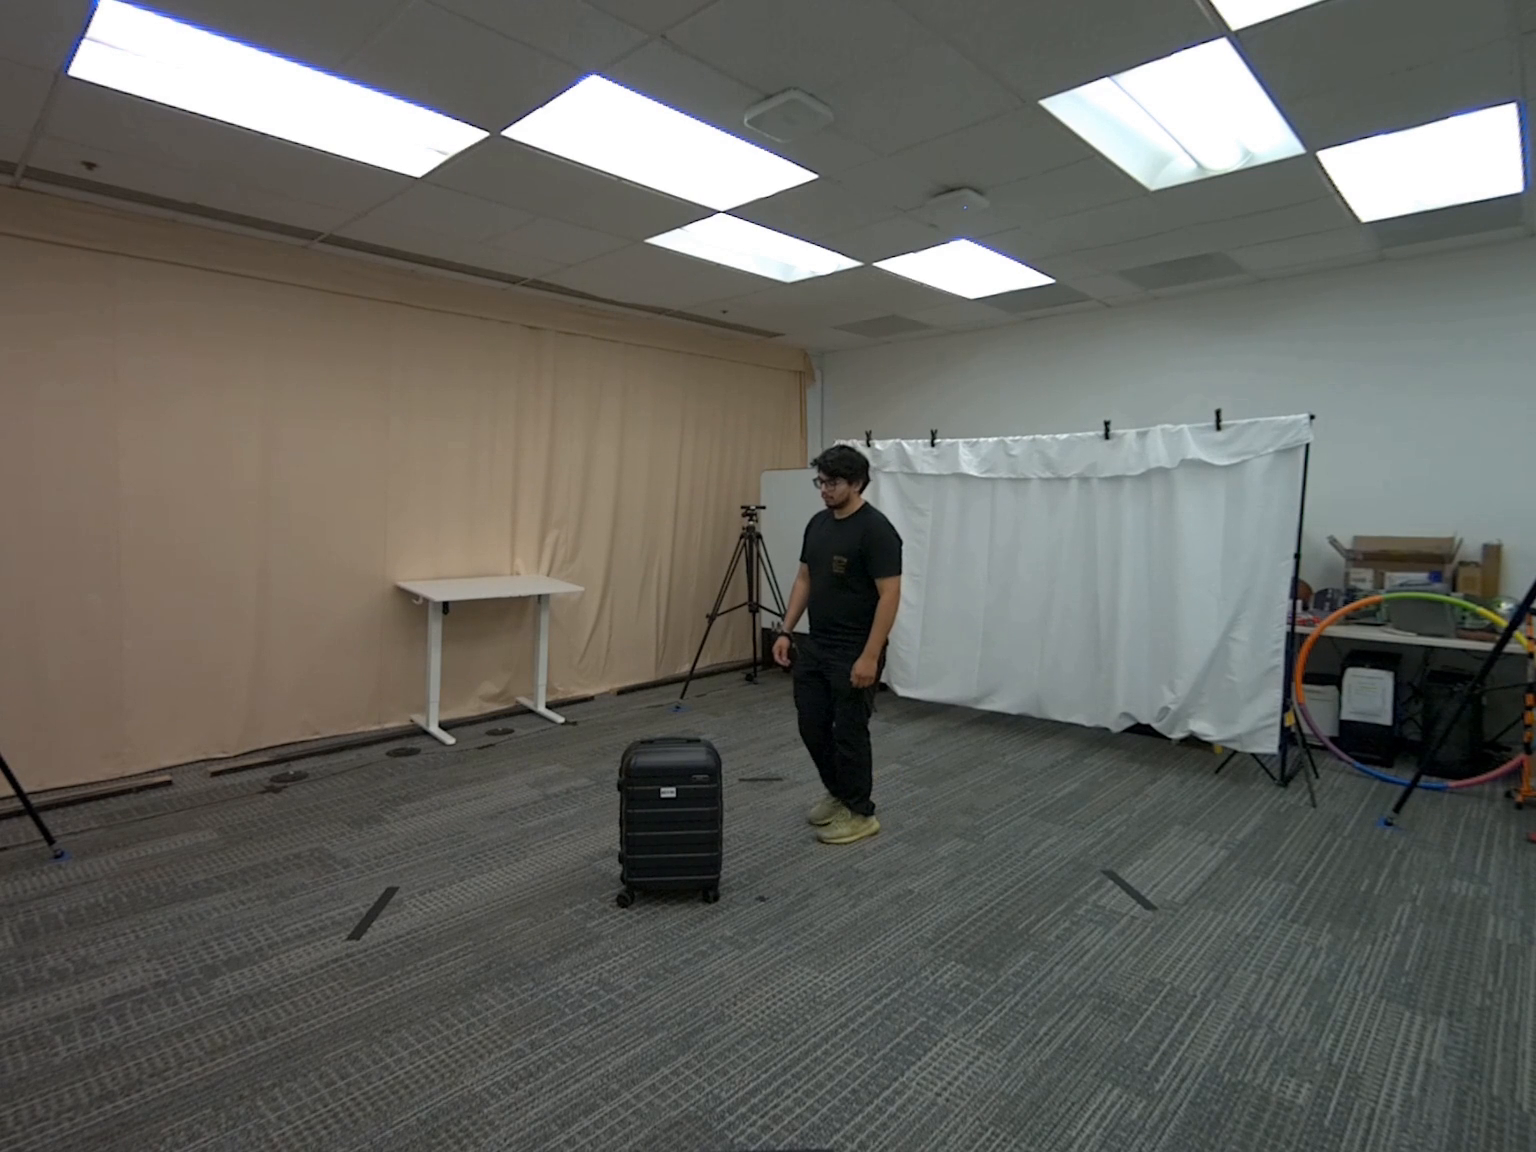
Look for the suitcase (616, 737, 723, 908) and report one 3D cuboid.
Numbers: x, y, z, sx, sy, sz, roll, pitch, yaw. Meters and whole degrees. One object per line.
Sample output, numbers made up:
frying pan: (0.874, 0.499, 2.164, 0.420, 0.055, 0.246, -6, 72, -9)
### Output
suitcase: (-0.349, 0.865, 3.027, 0.373, 0.548, 0.250, 0, 4, -5)
